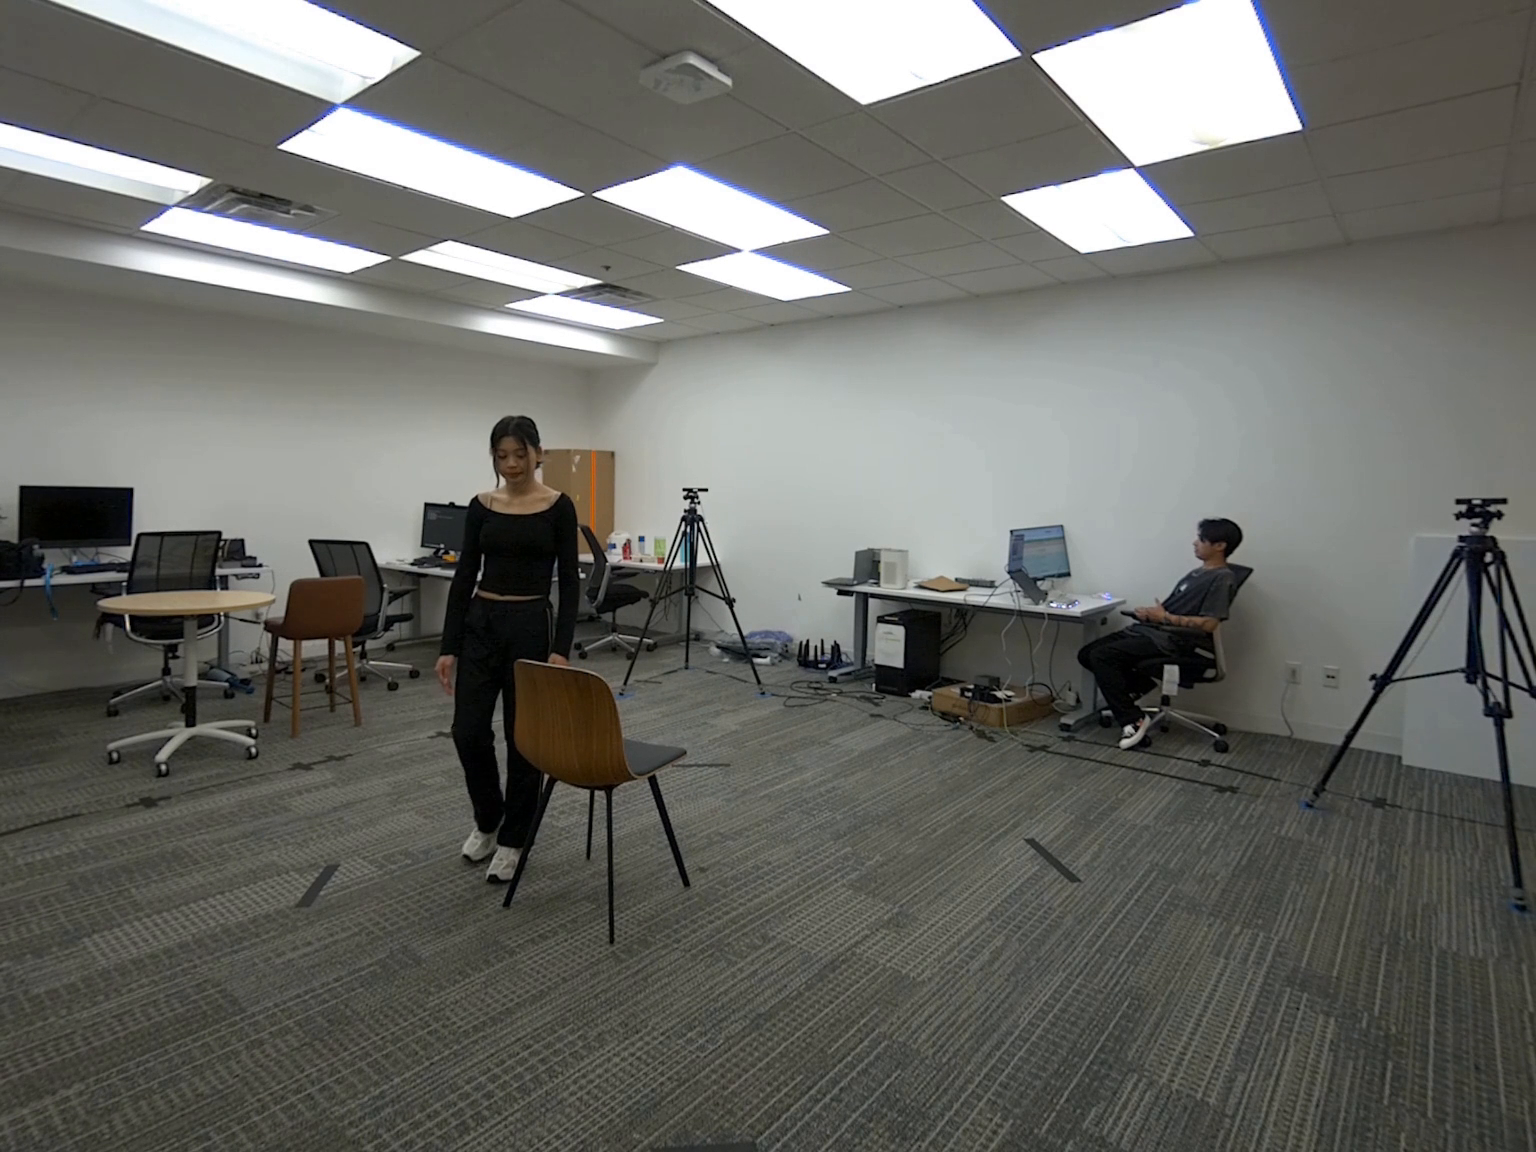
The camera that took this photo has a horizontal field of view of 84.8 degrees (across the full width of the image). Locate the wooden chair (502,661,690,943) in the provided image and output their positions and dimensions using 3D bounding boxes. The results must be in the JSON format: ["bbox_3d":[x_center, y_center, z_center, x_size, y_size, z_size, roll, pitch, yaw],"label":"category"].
[{"bbox_3d":[-0.570,0.660,2.864,0.491,0.871,0.512,2,8,28],"label":"wooden chair"}]
